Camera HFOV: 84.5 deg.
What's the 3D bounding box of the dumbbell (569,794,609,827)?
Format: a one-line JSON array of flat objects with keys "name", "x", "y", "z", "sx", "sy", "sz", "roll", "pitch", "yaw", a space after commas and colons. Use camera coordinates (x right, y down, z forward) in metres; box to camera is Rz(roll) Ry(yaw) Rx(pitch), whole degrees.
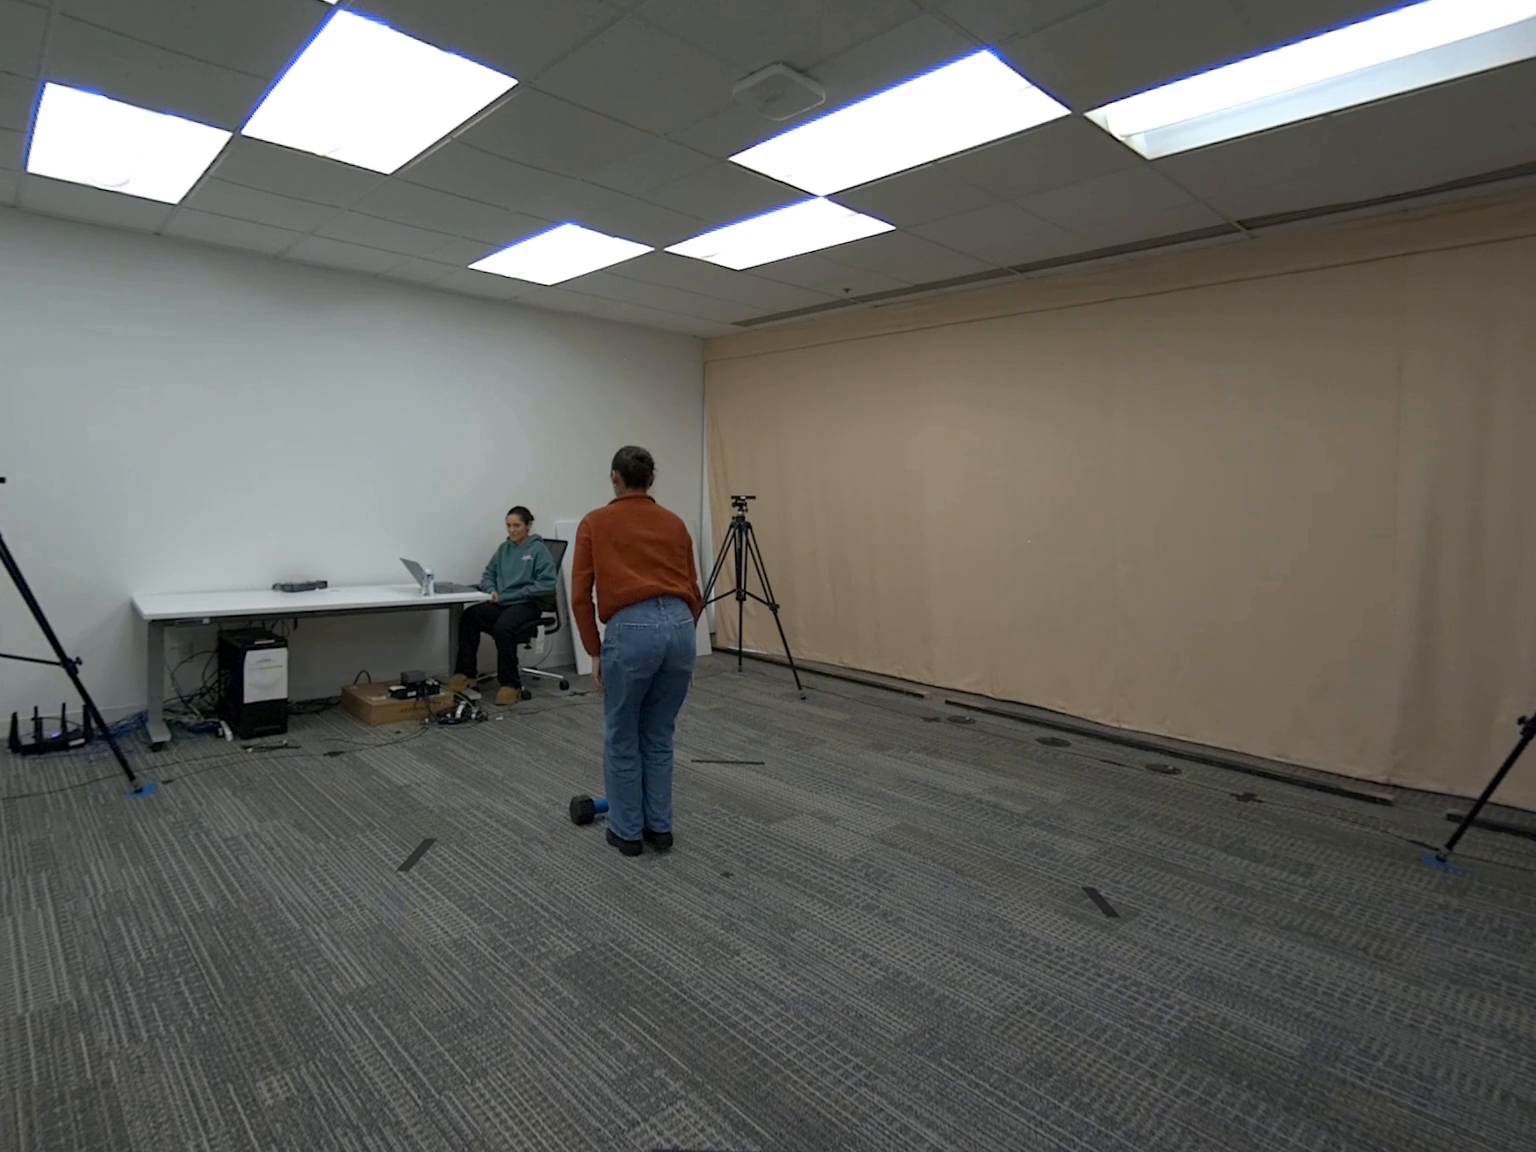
[{"name": "dumbbell", "x": -0.716, "y": 0.990, "z": 3.633, "sx": 0.287, "sy": 0.121, "sz": 0.112, "roll": -2, "pitch": 34, "yaw": -35}]
